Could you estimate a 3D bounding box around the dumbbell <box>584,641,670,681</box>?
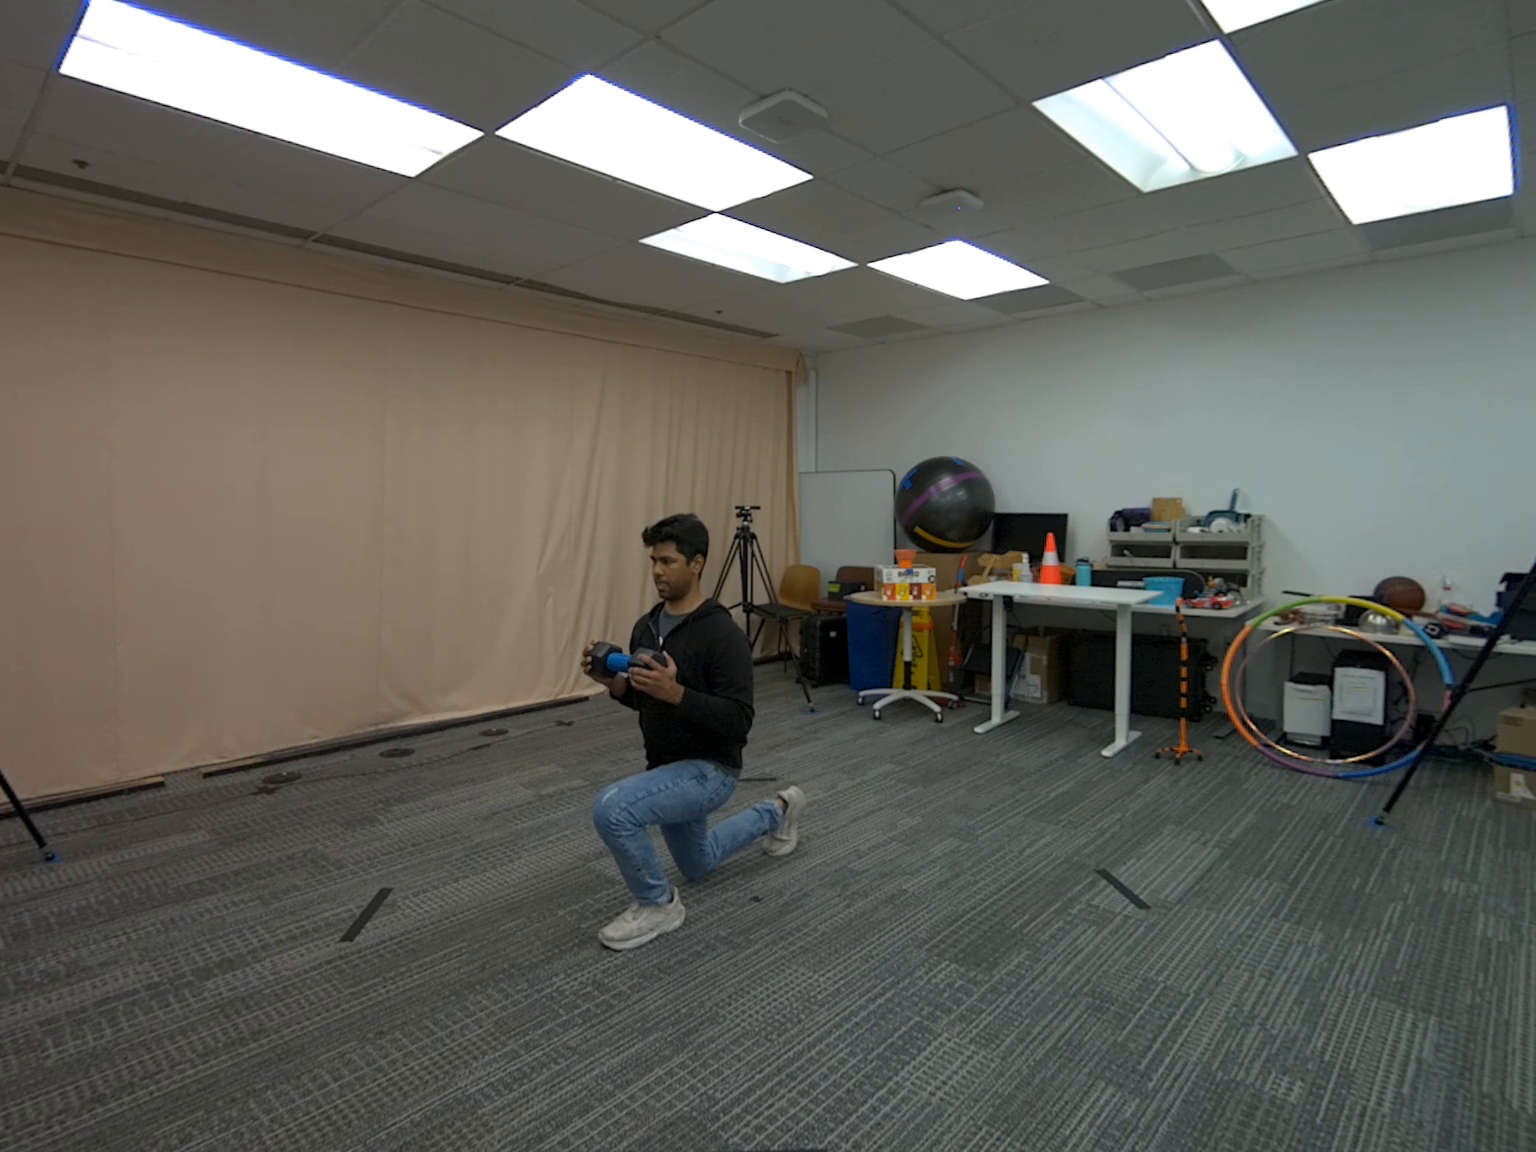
[{"bbox_3d":[-0.448,0.273,2.701,0.303,0.122,0.106,2,15,43],"label":"dumbbell"}]
